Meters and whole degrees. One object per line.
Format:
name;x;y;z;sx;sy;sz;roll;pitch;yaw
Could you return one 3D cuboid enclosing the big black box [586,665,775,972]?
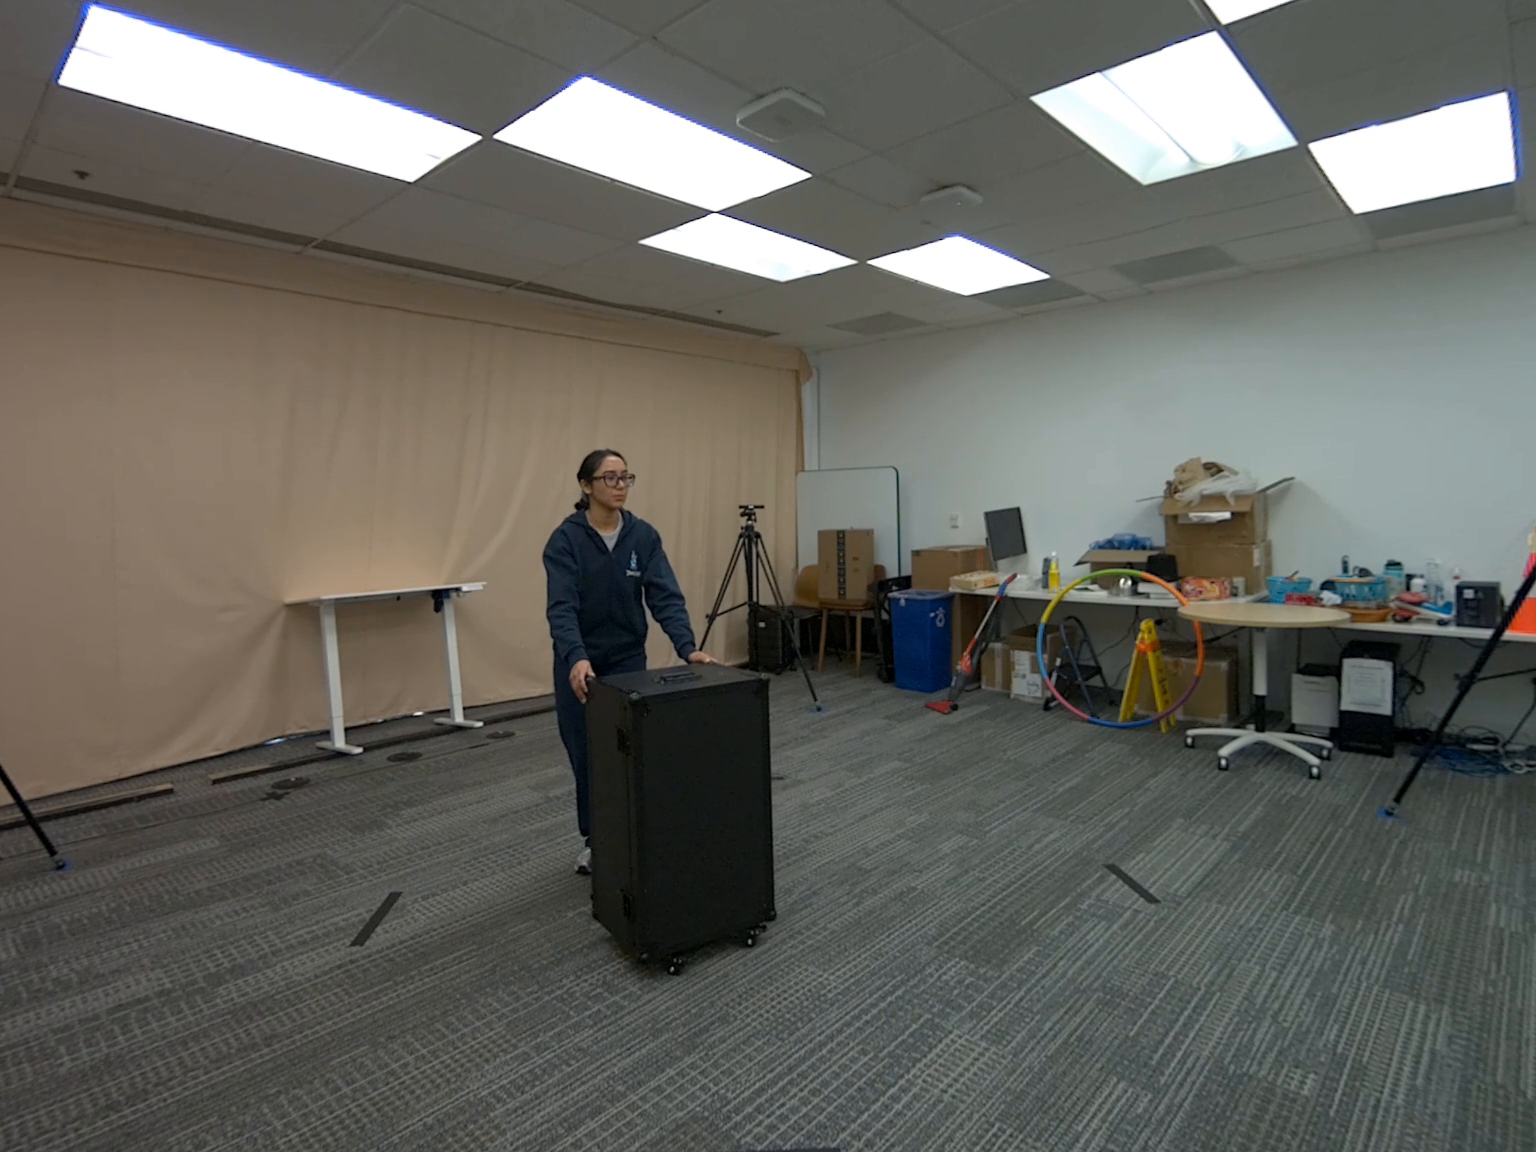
big black box;-0.288;0.751;2.693;0.507;0.860;0.408;-4;2;-33
